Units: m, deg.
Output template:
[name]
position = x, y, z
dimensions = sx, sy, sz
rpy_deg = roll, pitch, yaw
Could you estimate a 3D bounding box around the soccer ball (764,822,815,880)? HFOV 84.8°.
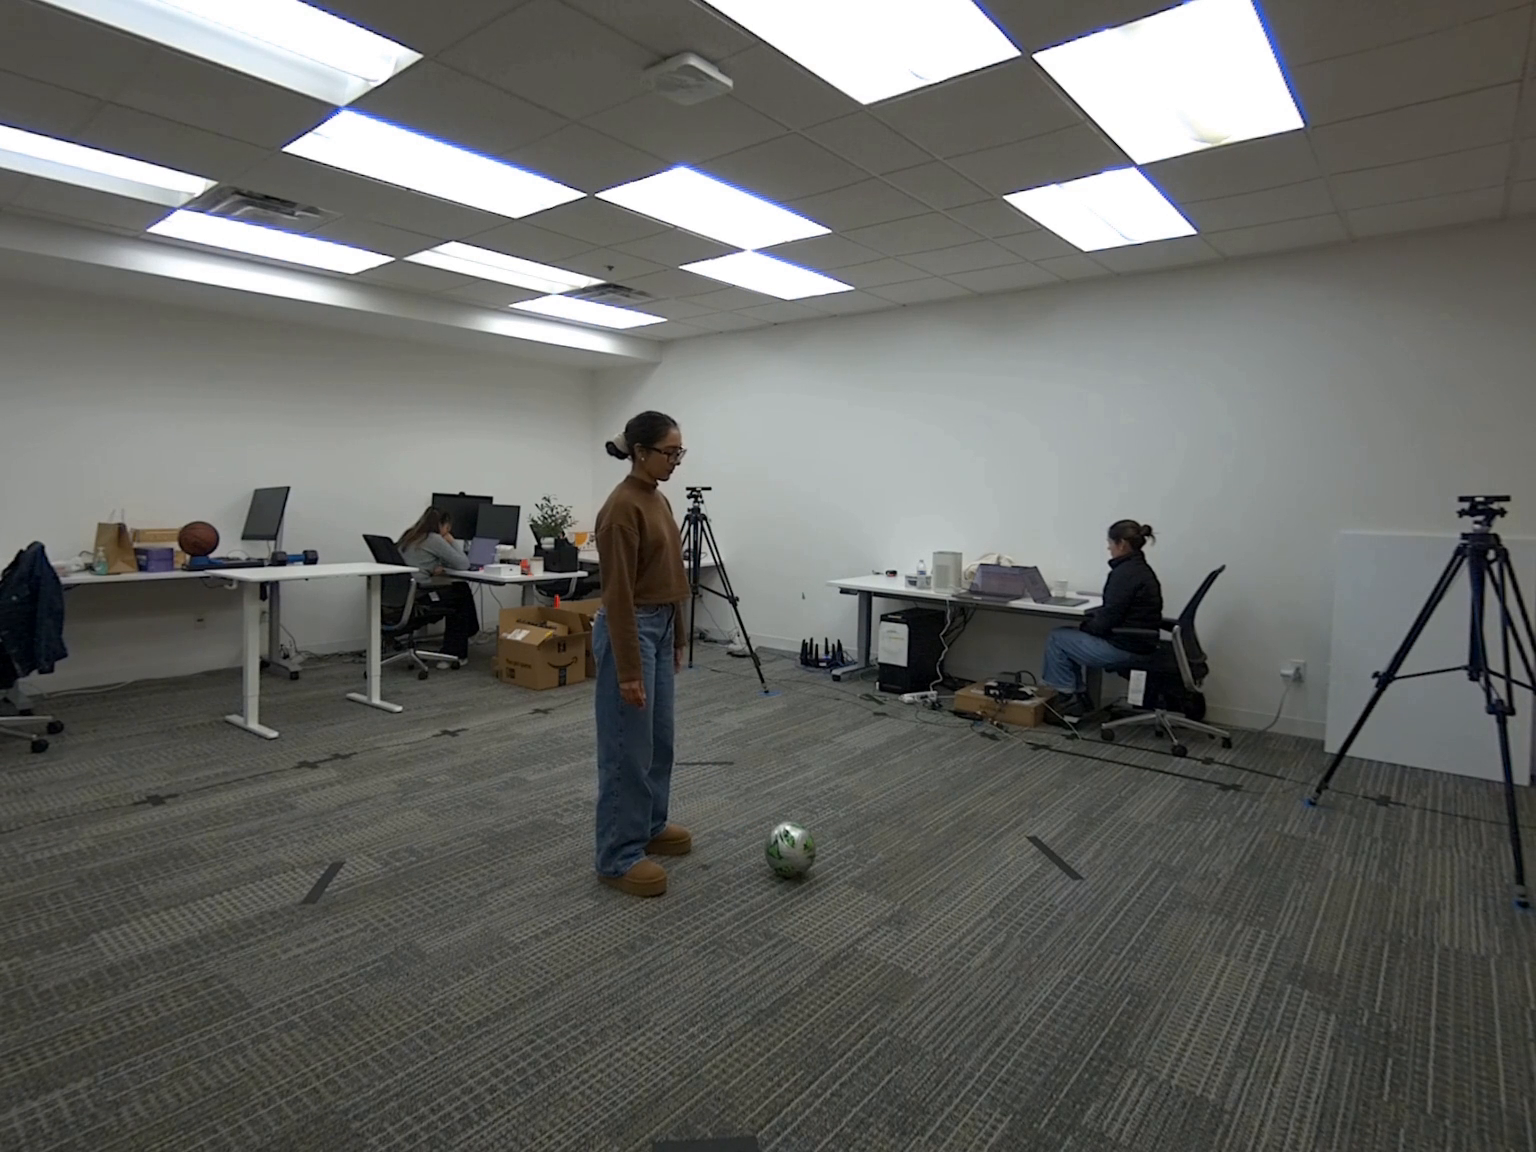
[soccer ball]
position = 0.071, 0.984, 3.062
dimensions = 0.187, 0.187, 0.188
rpy_deg = 1, 4, -2
